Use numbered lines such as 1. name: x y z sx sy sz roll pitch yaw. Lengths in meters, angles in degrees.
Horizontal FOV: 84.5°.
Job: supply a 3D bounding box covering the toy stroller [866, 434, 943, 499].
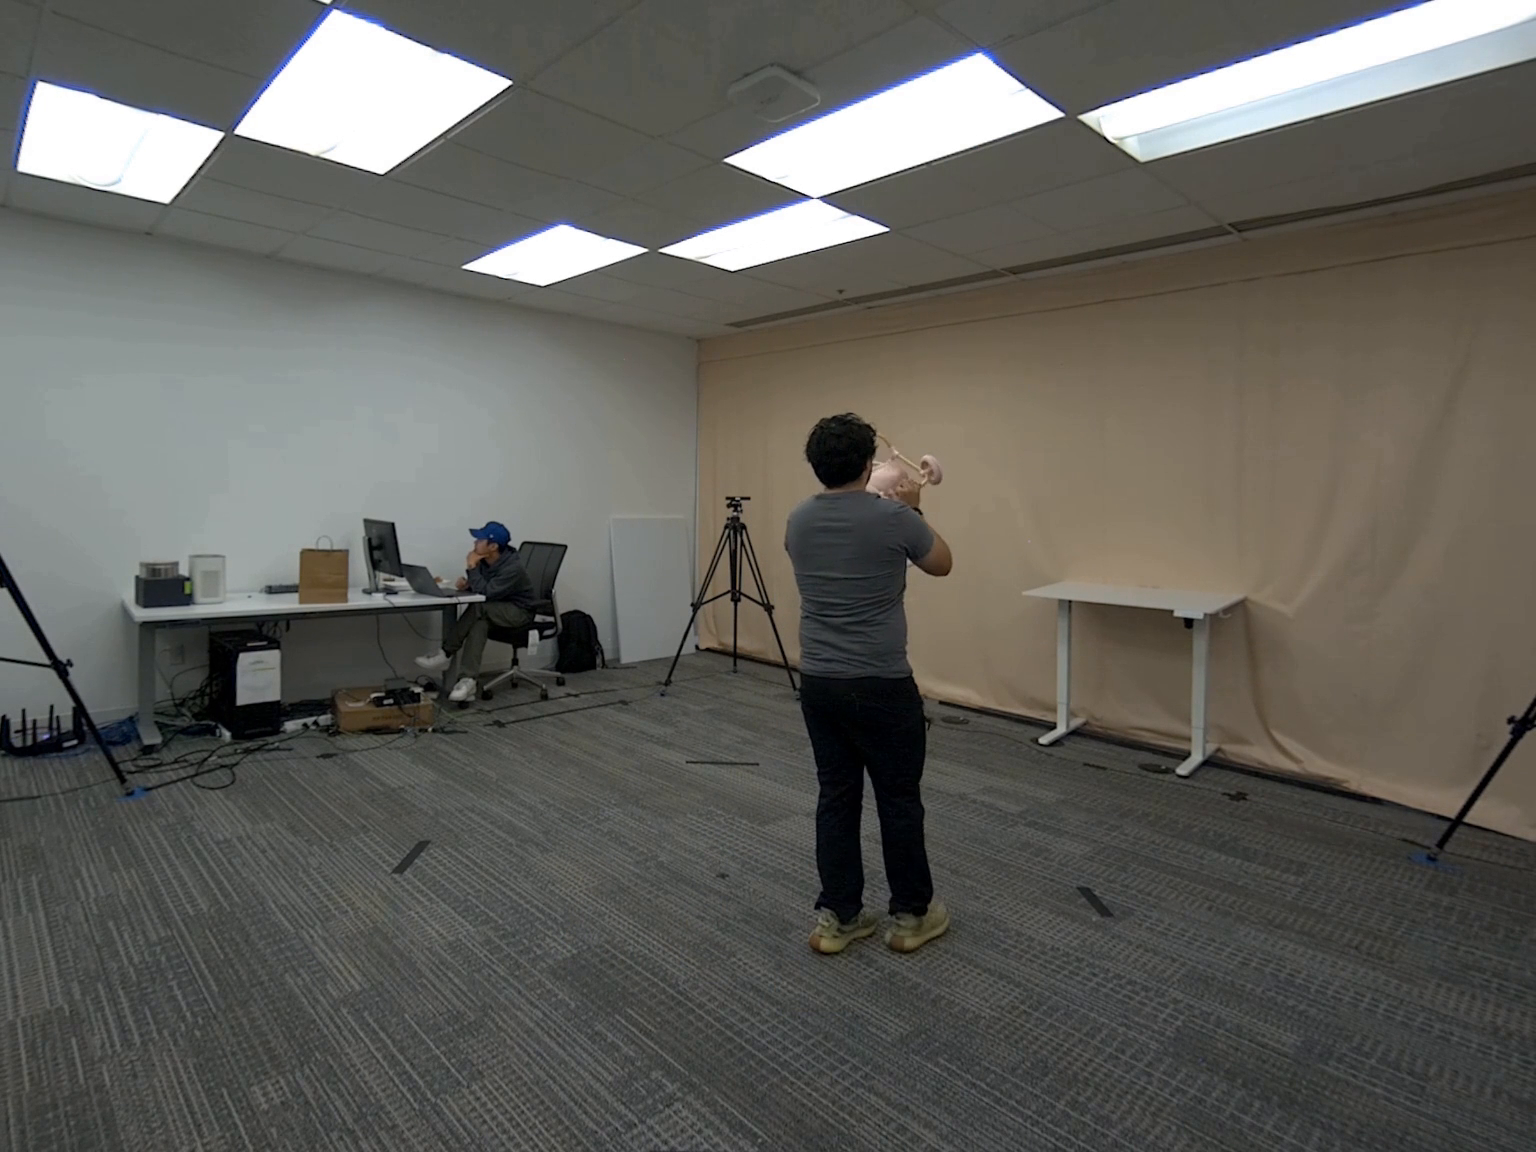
1. toy stroller: 0.413 -0.291 3.070 0.280 0.522 0.351 -31 55 -19
